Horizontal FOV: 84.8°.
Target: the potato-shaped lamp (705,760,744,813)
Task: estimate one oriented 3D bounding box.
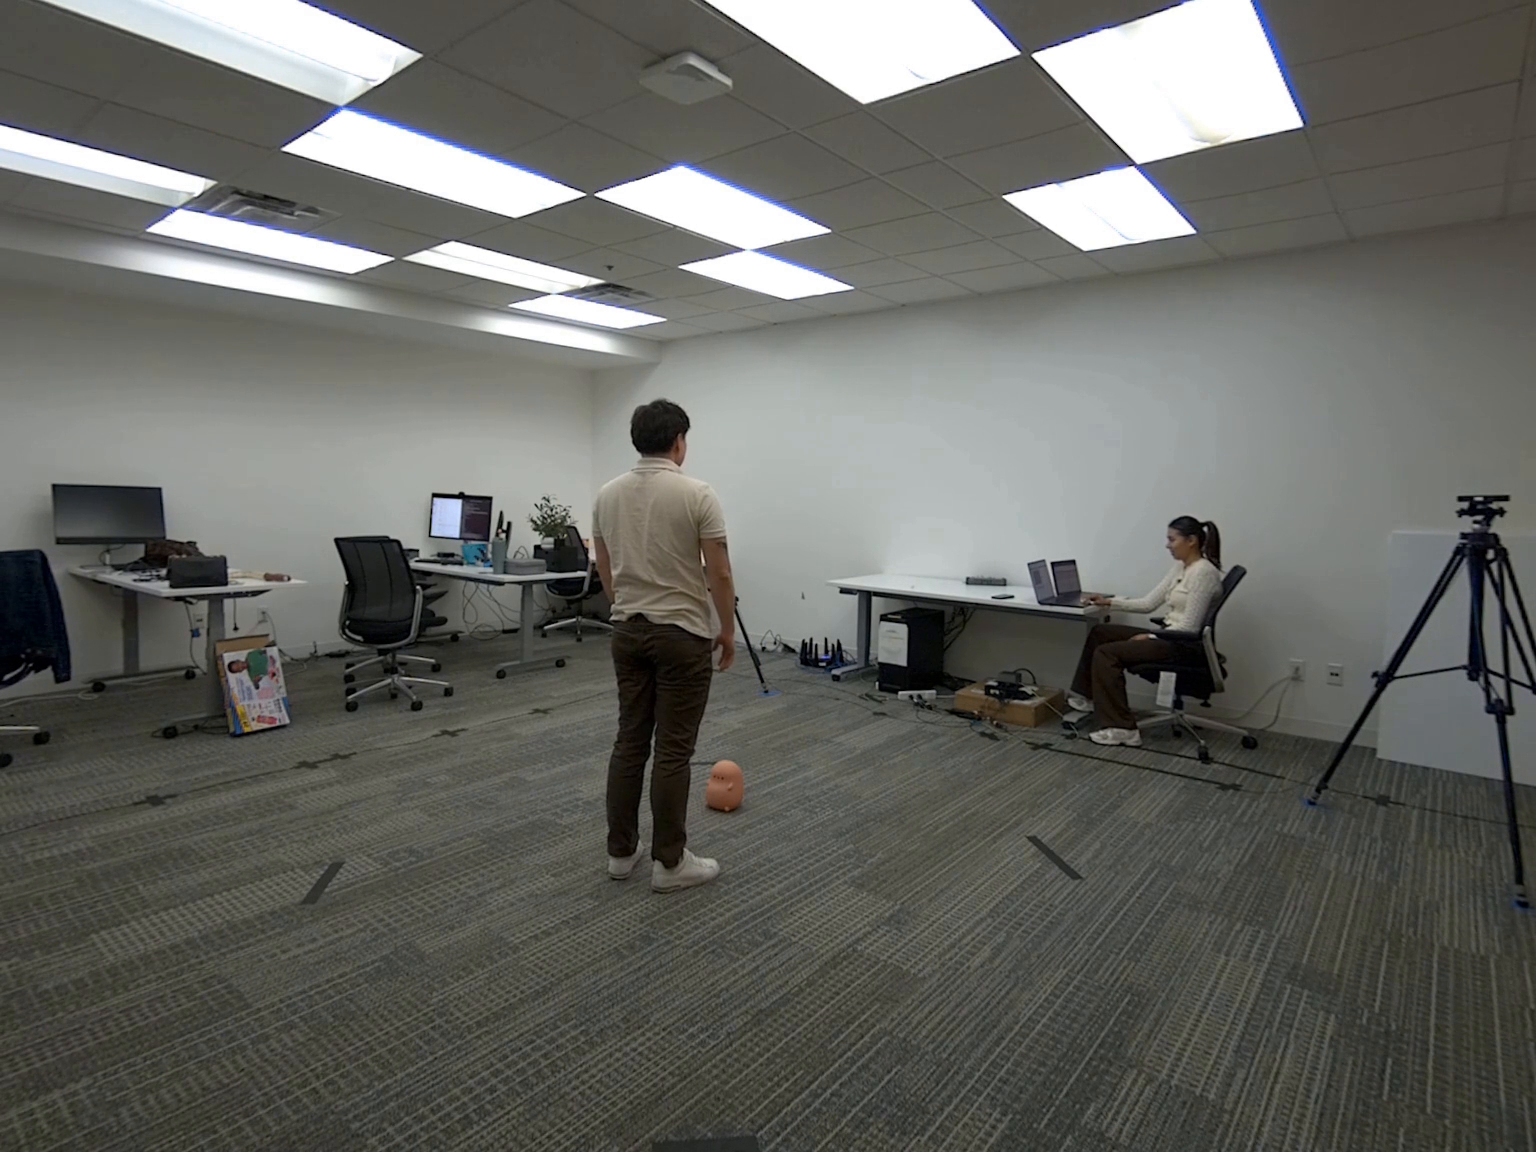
[{"bbox_3d":[-0.200,0.905,3.723,0.170,0.197,0.167,3,4,32],"label":"potato-shaped lamp"}]
